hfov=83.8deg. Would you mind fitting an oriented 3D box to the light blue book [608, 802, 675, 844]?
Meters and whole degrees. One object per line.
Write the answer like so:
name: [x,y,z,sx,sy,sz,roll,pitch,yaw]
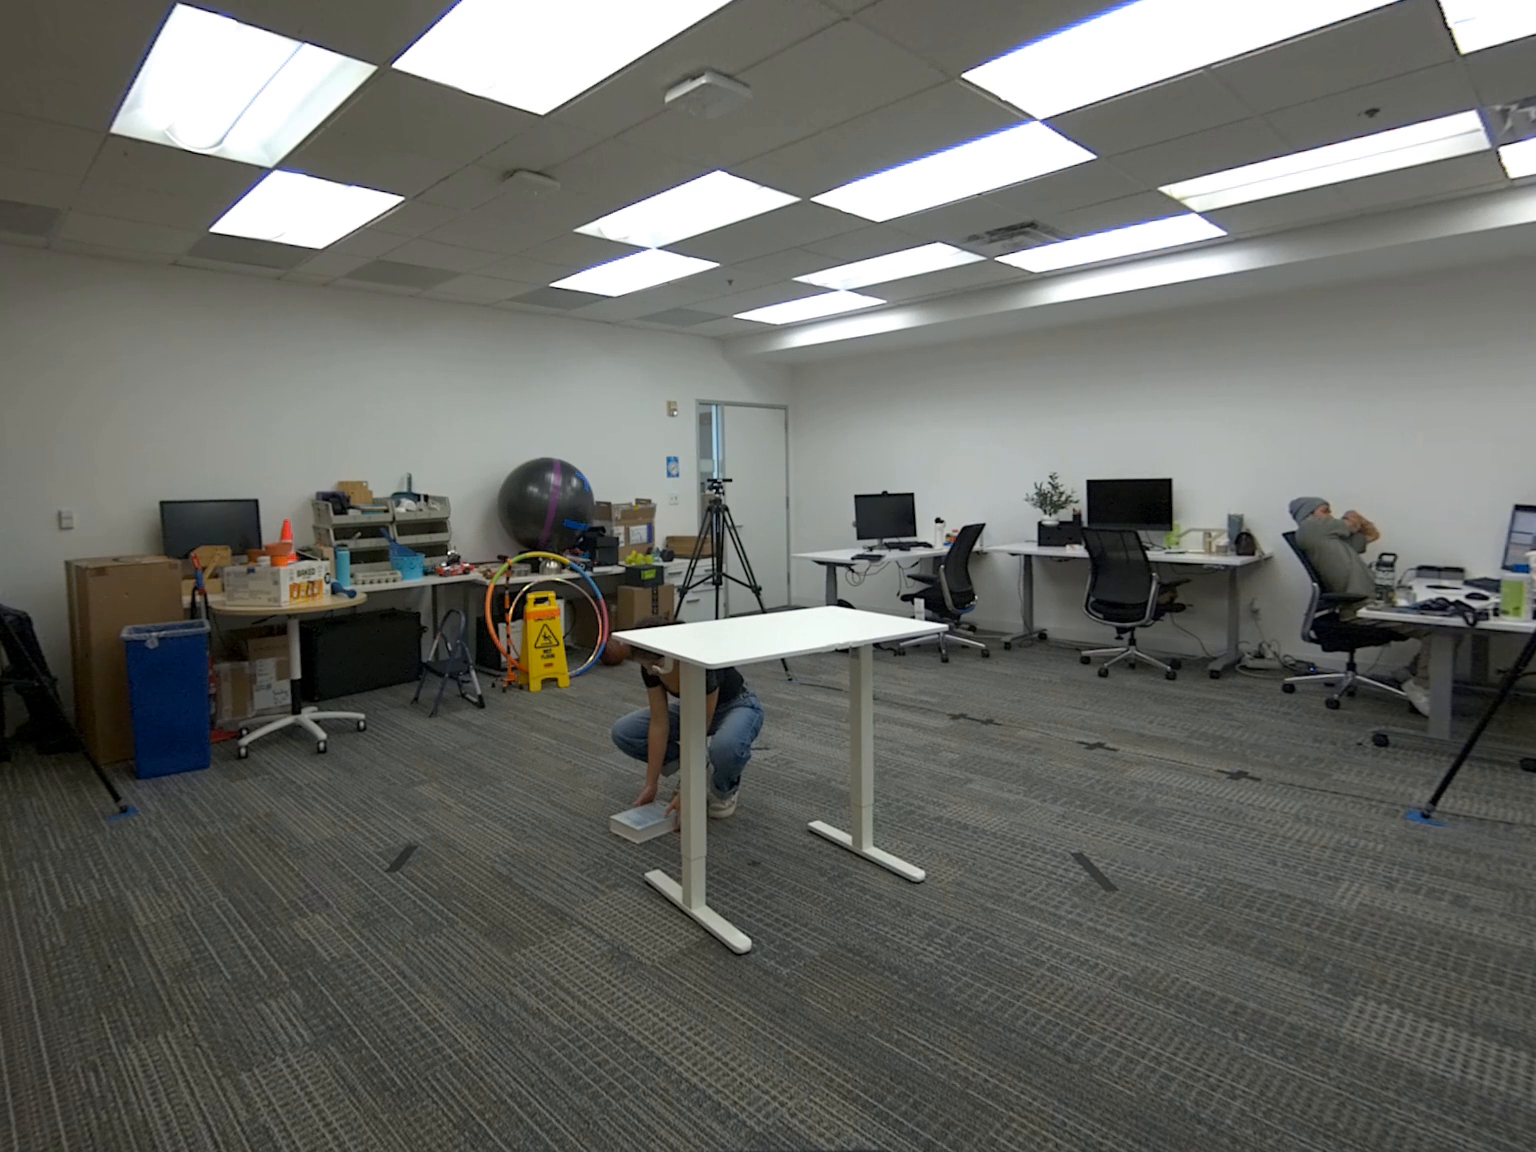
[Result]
light blue book: [-0.489,0.993,3.446,0.254,0.059,0.197,-7,8,-44]
